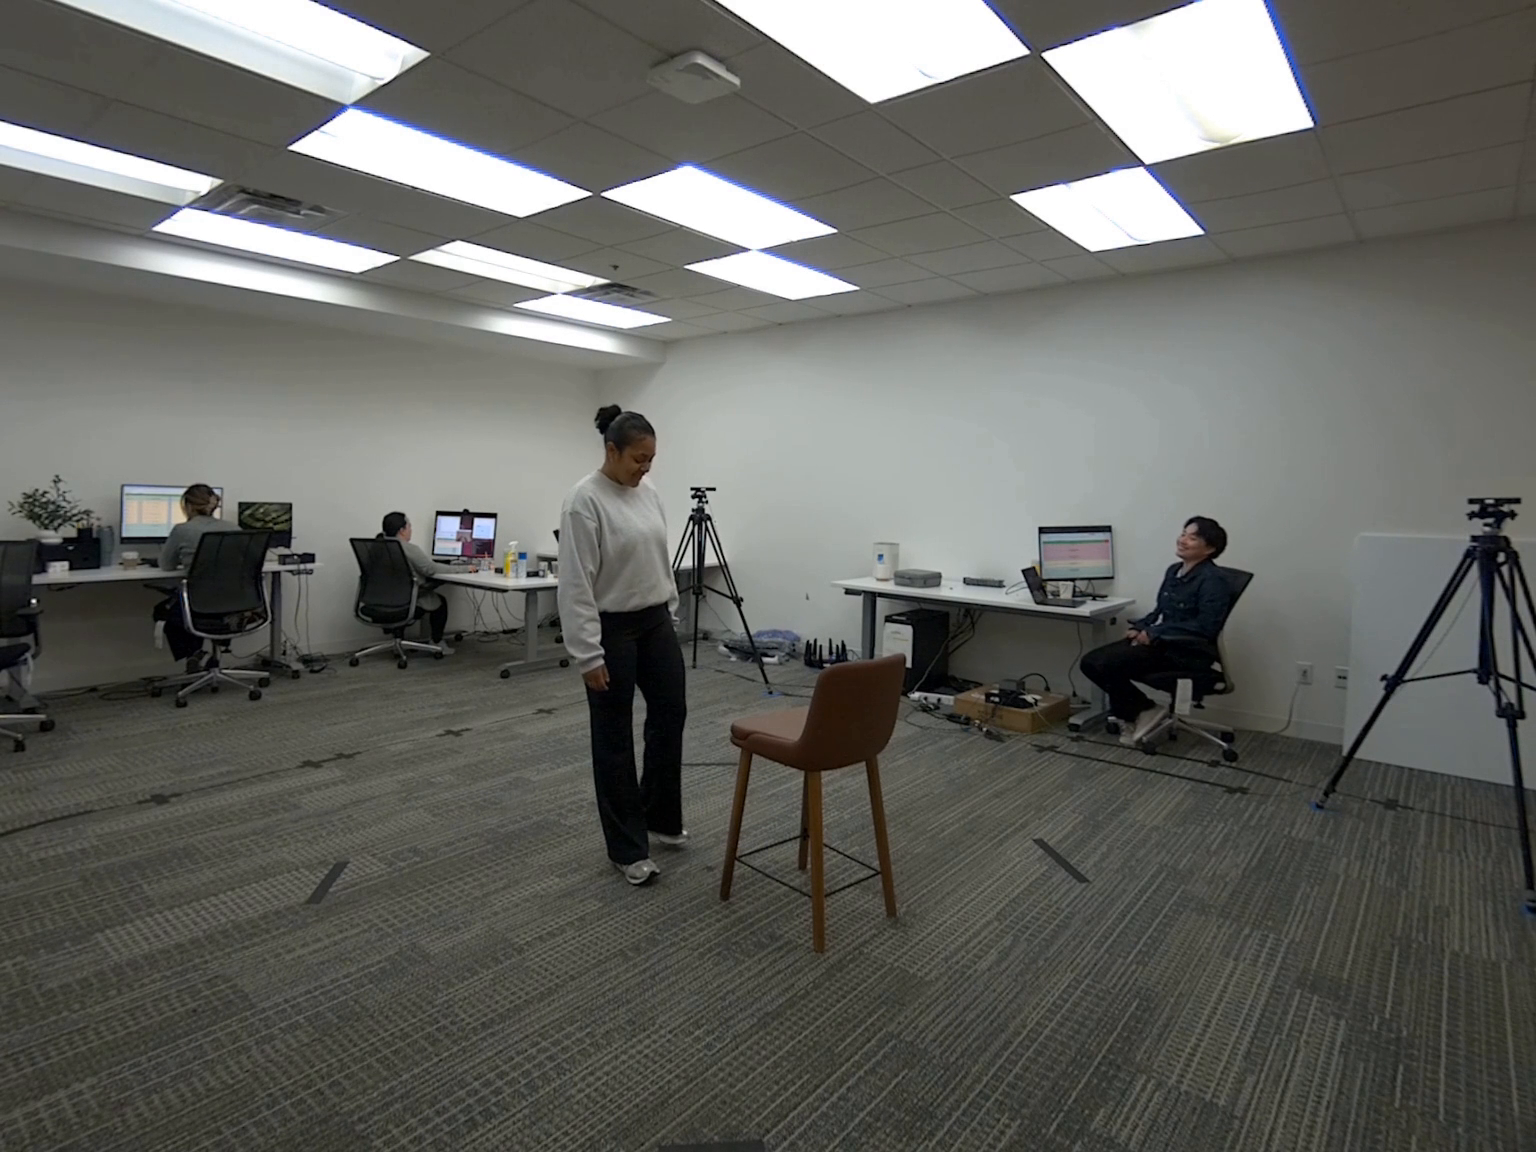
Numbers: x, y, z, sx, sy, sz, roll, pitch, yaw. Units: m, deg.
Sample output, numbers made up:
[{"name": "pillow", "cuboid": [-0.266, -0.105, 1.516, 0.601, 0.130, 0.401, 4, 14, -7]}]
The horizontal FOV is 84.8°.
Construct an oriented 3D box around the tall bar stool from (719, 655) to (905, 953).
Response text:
[{"name": "tall bar stool", "cuboid": [0.145, 0.668, 2.814, 0.442, 0.886, 0.484, -1, 6, -43]}]
